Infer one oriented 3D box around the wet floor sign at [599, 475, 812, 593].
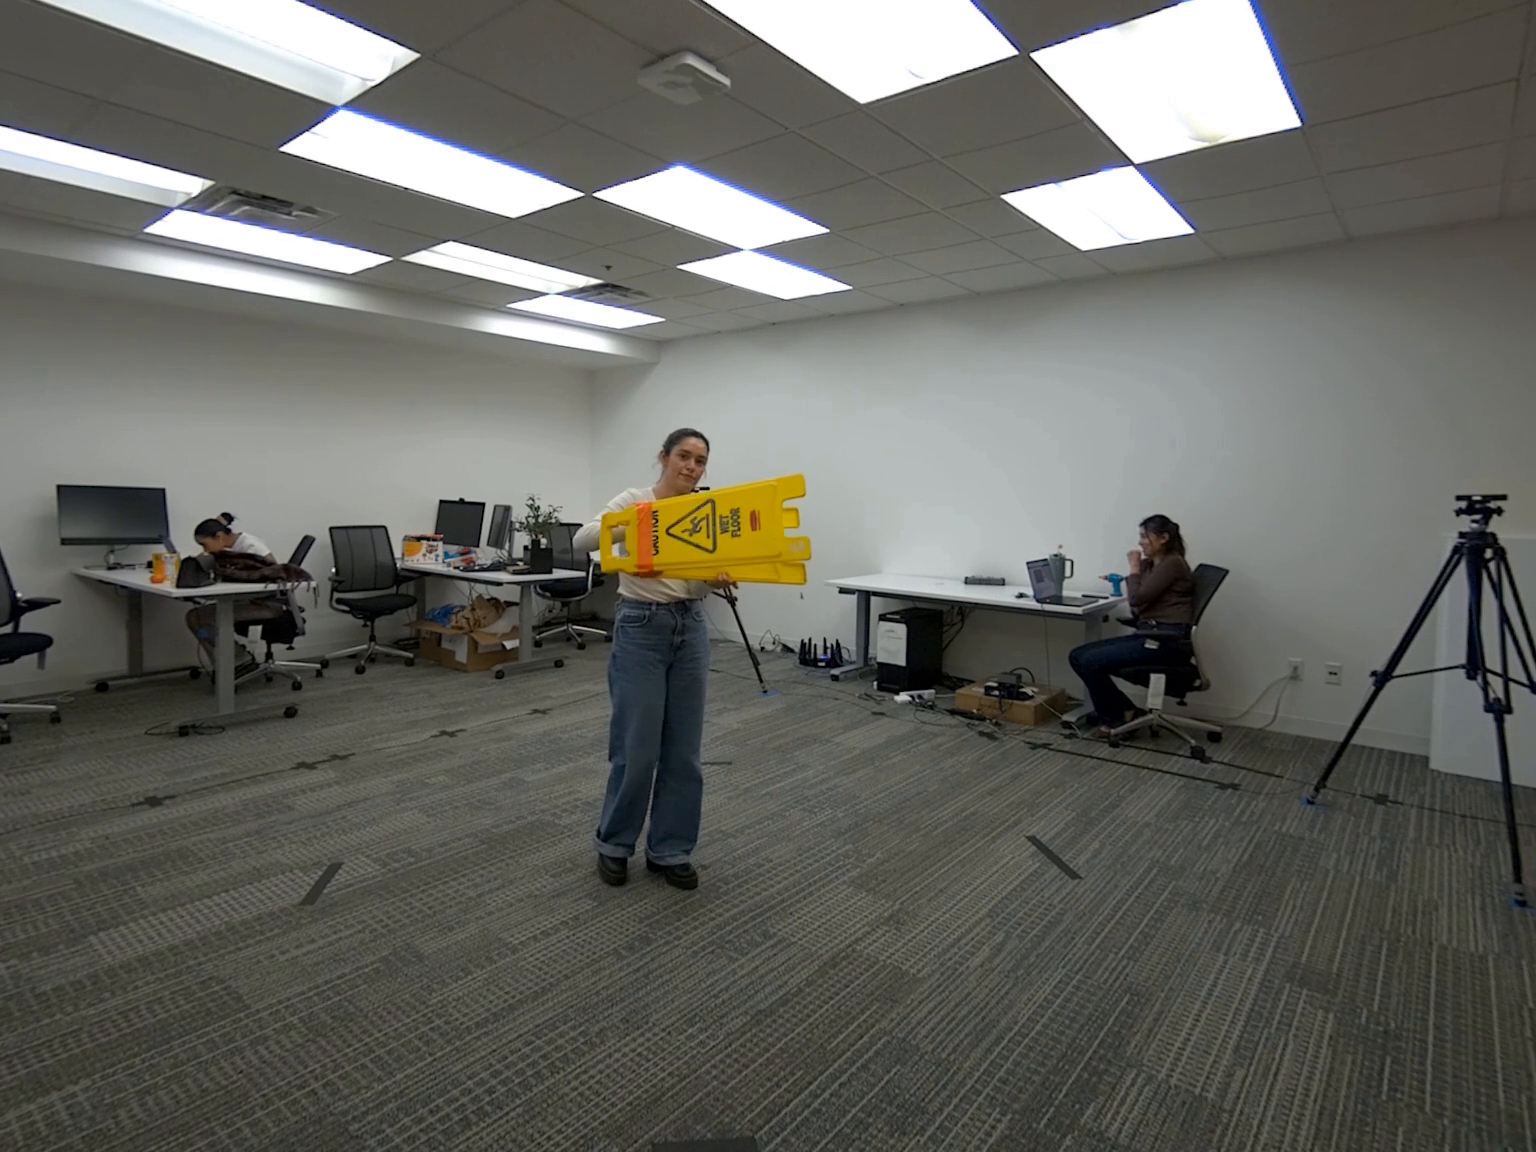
[{"bbox_3d":[-0.219,-0.121,2.668,0.646,0.288,0.284,-3,-19,0],"label":"wet floor sign"}]
